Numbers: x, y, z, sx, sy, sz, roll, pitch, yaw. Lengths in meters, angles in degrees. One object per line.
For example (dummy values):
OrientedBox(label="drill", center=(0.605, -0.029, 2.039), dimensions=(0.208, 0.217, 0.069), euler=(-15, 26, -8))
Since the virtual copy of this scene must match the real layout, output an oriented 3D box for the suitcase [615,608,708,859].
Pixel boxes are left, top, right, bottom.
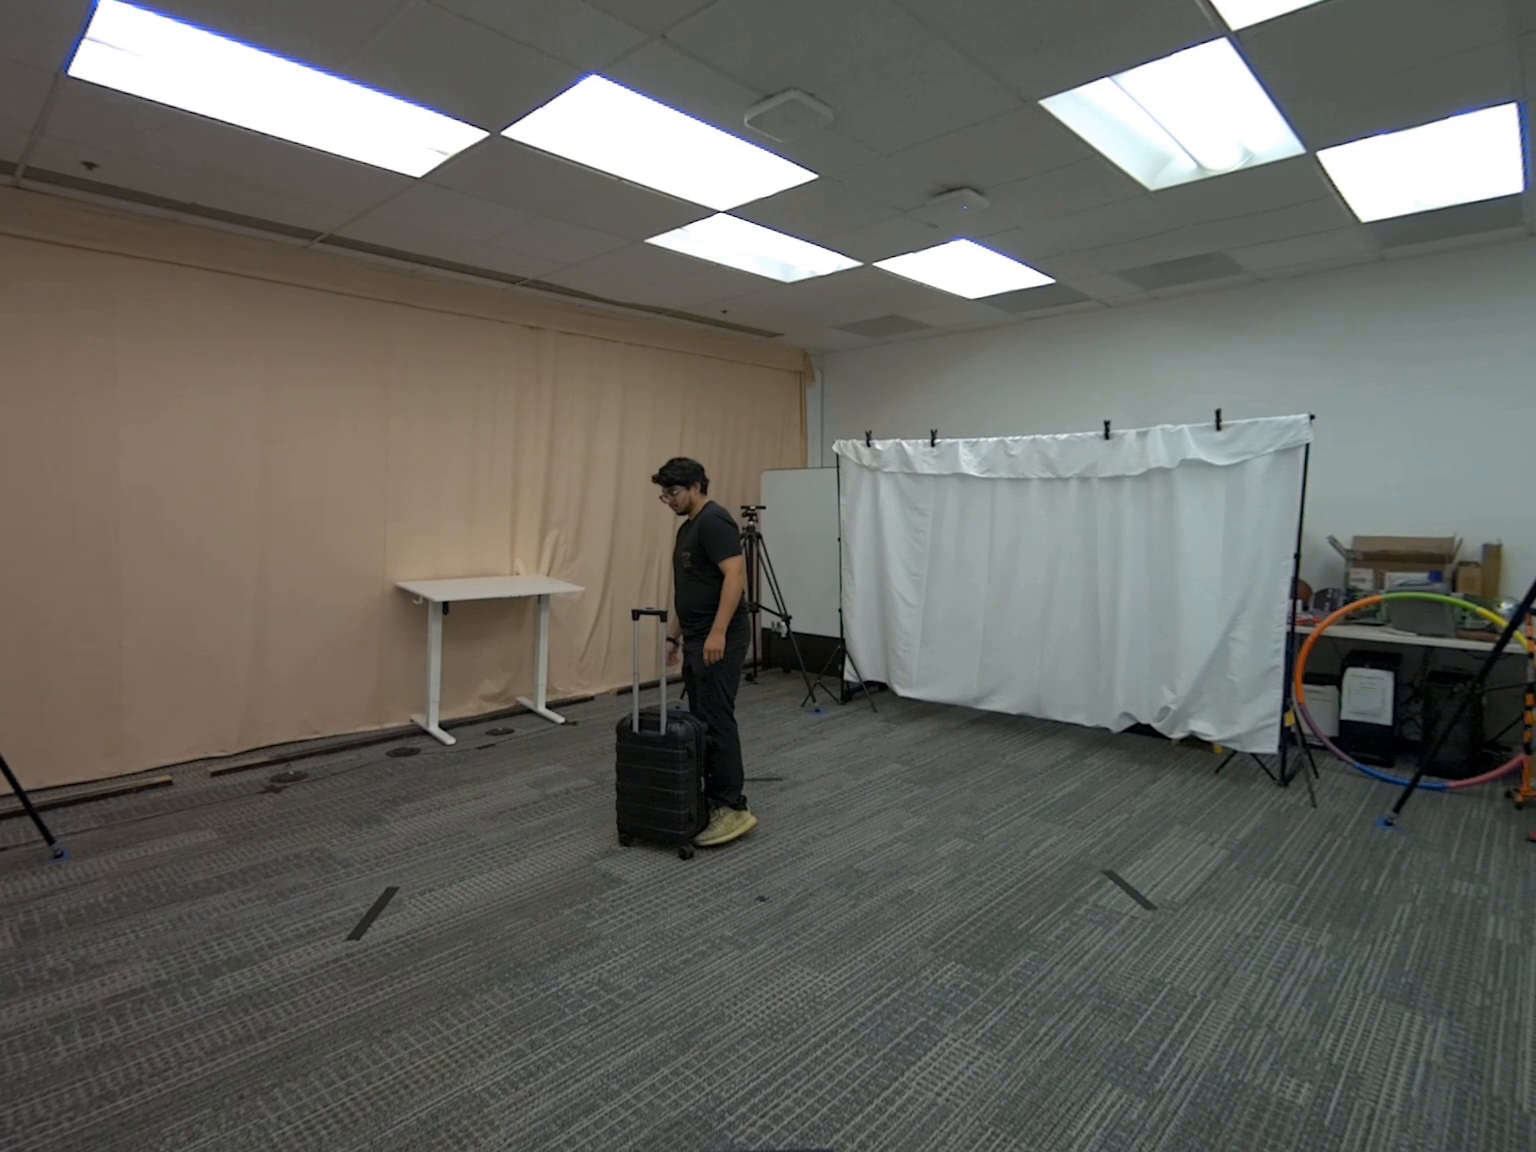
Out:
OrientedBox(label="suitcase", center=(-0.446, 0.628, 3.479), dimensions=(0.393, 0.977, 0.251), euler=(-1, 2, 23))
